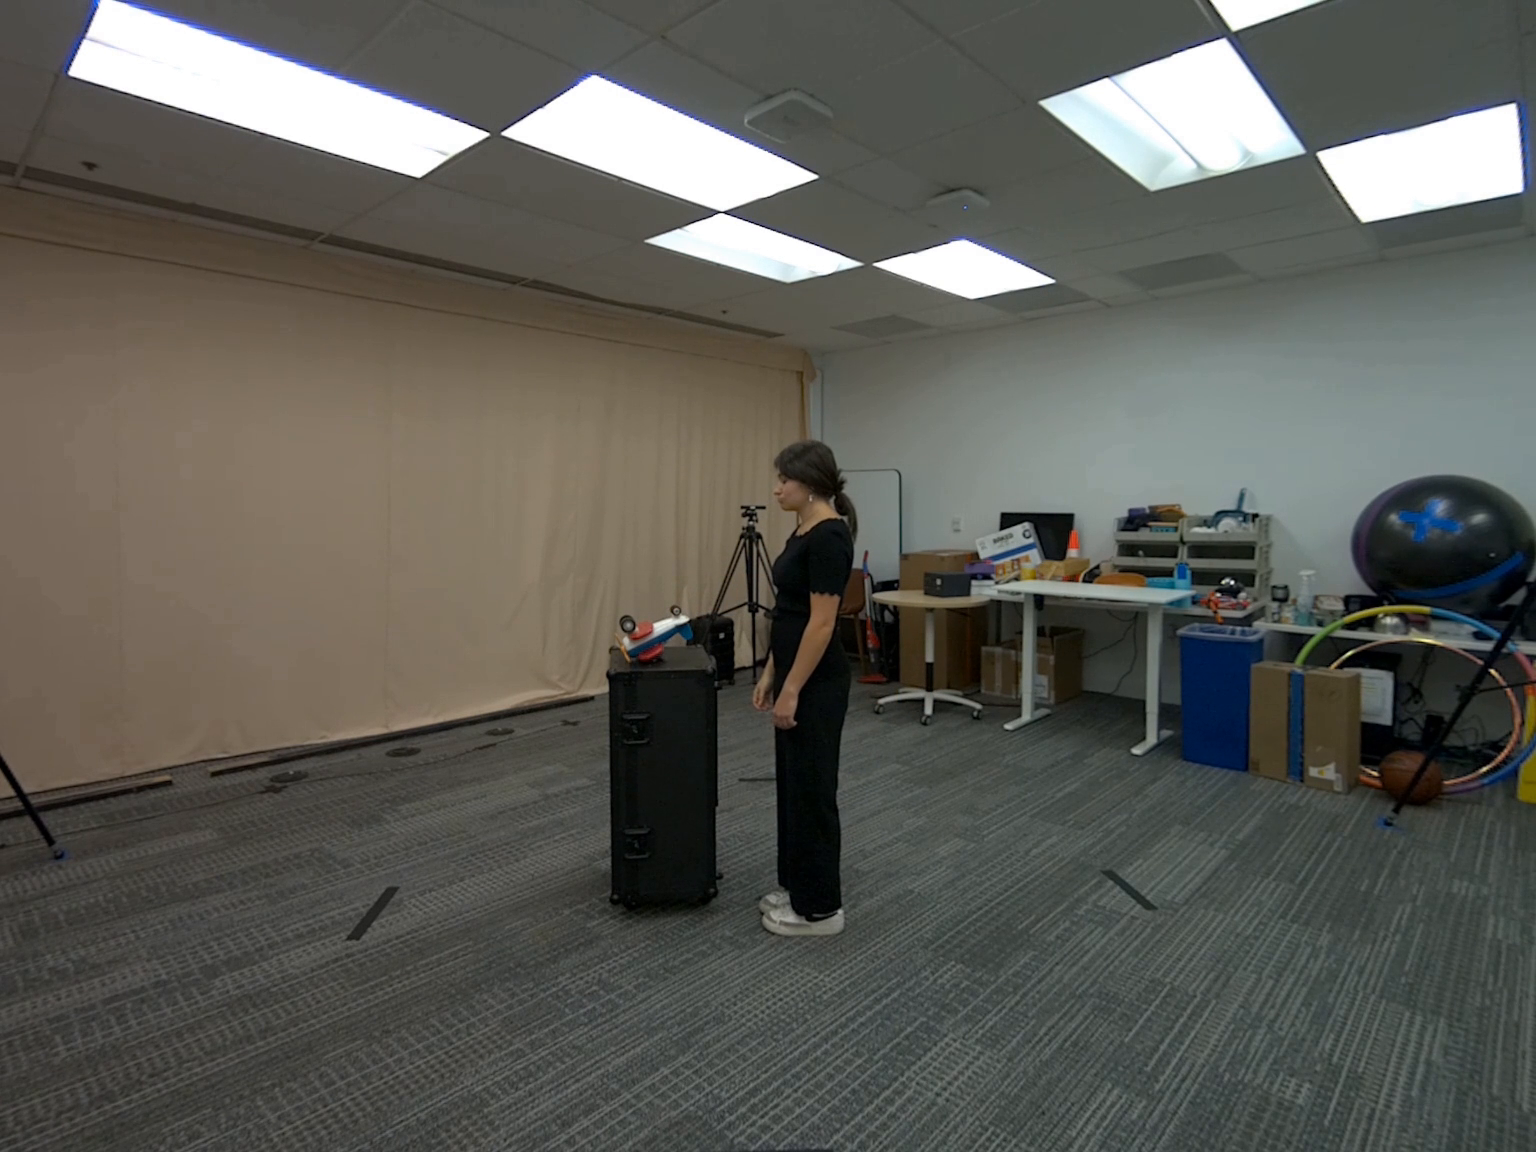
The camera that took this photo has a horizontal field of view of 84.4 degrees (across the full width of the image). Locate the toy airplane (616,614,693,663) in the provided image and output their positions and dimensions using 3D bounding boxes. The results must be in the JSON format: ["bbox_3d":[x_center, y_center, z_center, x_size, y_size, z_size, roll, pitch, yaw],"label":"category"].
[{"bbox_3d":[-0.403,0.203,2.966,0.263,0.156,0.248,-9,6,16],"label":"toy airplane"}]
